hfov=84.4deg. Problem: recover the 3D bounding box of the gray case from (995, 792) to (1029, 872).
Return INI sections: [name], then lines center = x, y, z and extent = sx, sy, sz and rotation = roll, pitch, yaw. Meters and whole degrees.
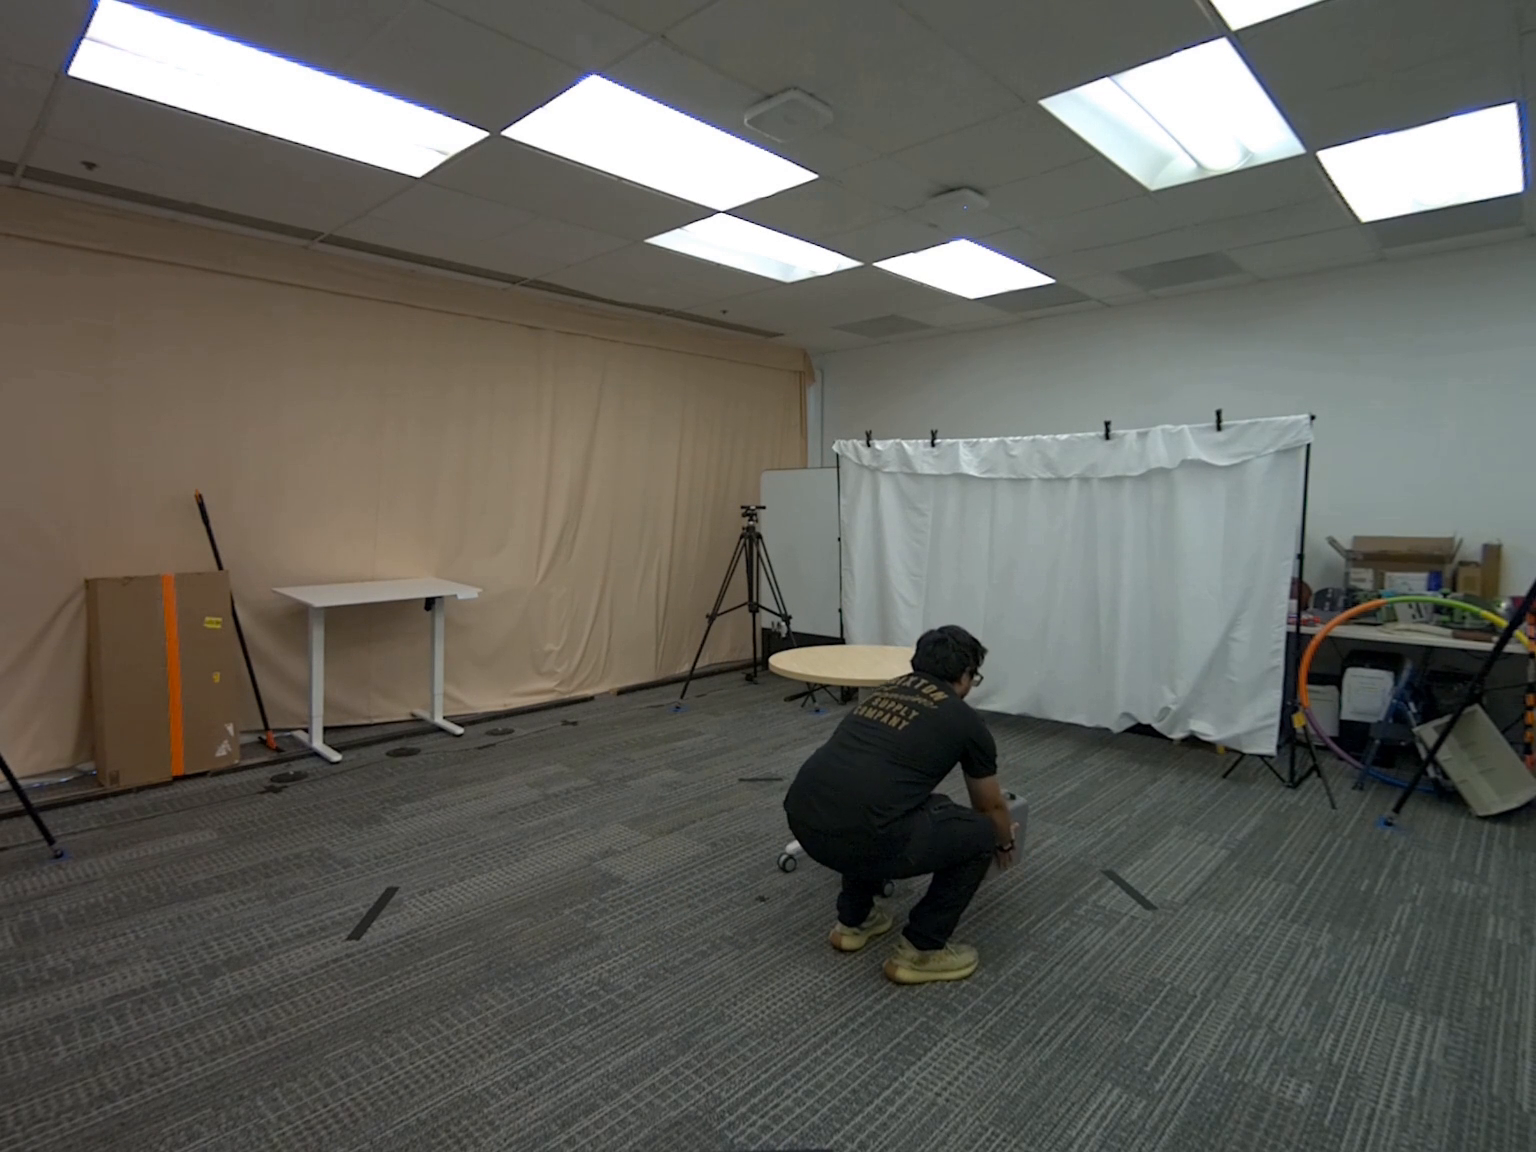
[gray case]
center = 0.818, 0.899, 2.940
extent = 0.249, 0.259, 0.108
rotation = -2, 10, -43
